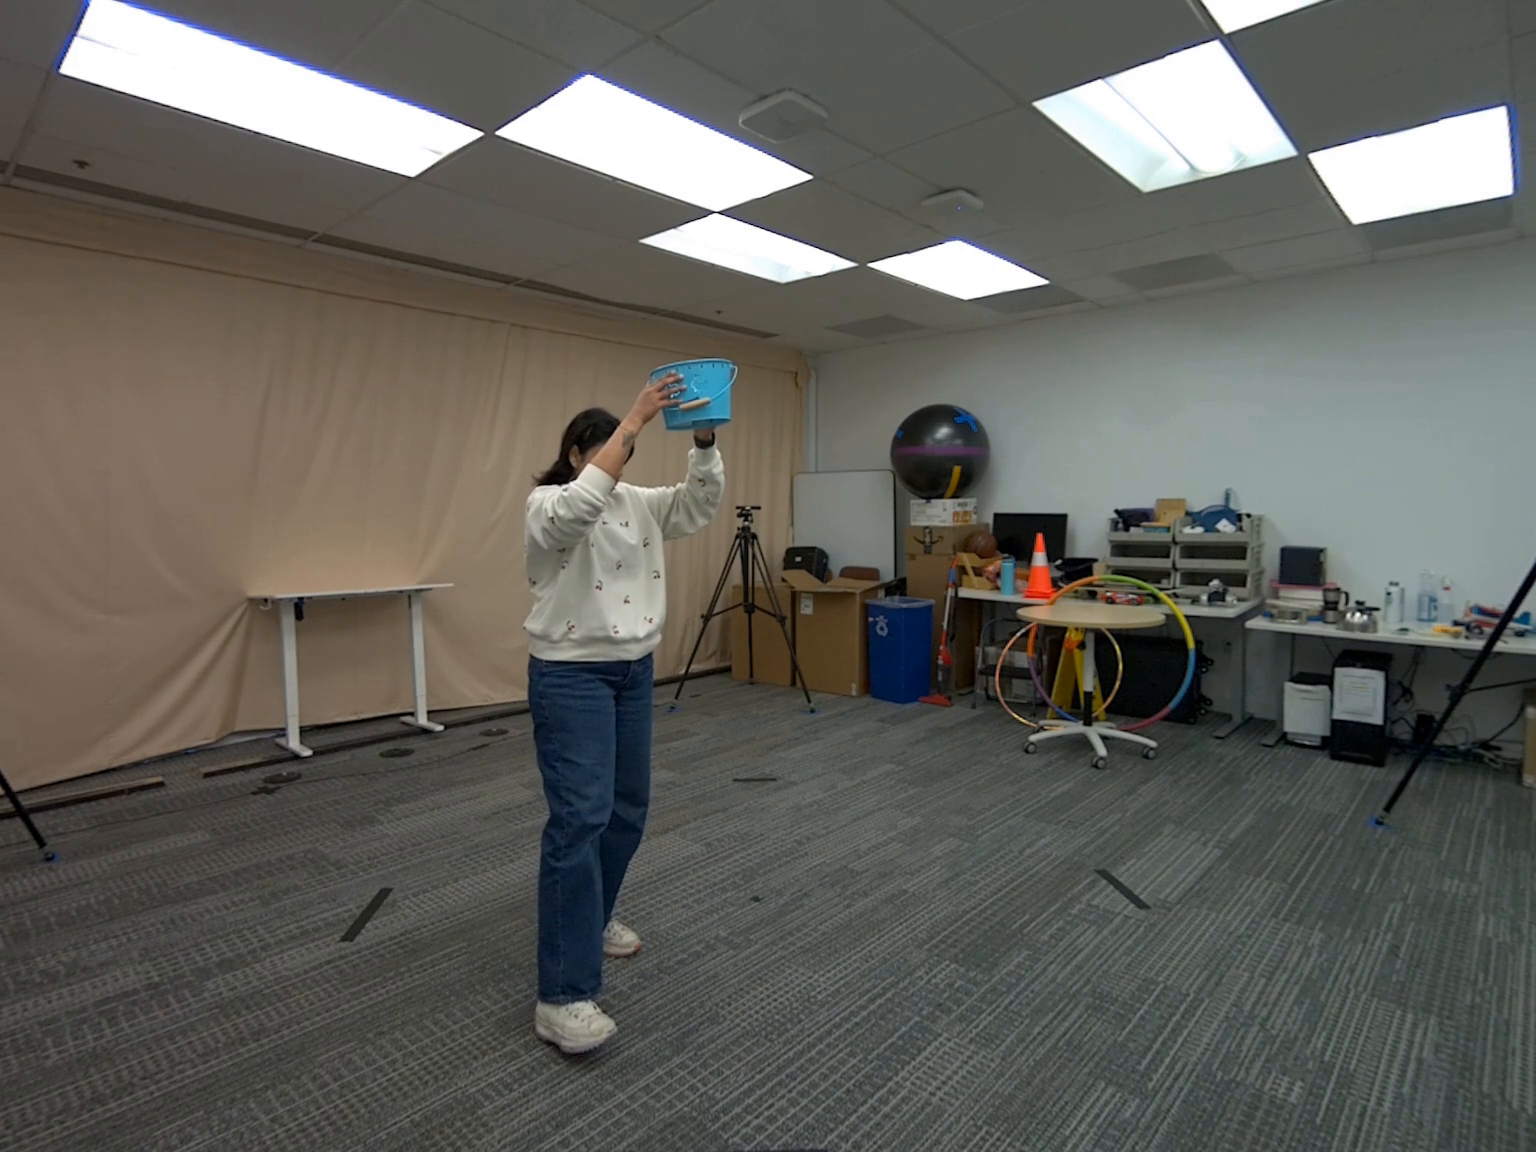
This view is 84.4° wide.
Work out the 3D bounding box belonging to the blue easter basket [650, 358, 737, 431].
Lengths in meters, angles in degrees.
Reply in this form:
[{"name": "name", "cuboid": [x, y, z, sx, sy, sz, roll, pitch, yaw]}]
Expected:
[{"name": "blue easter basket", "cuboid": [-0.205, -0.490, 2.286, 0.243, 0.156, 0.244, -6, 2, -2]}]
